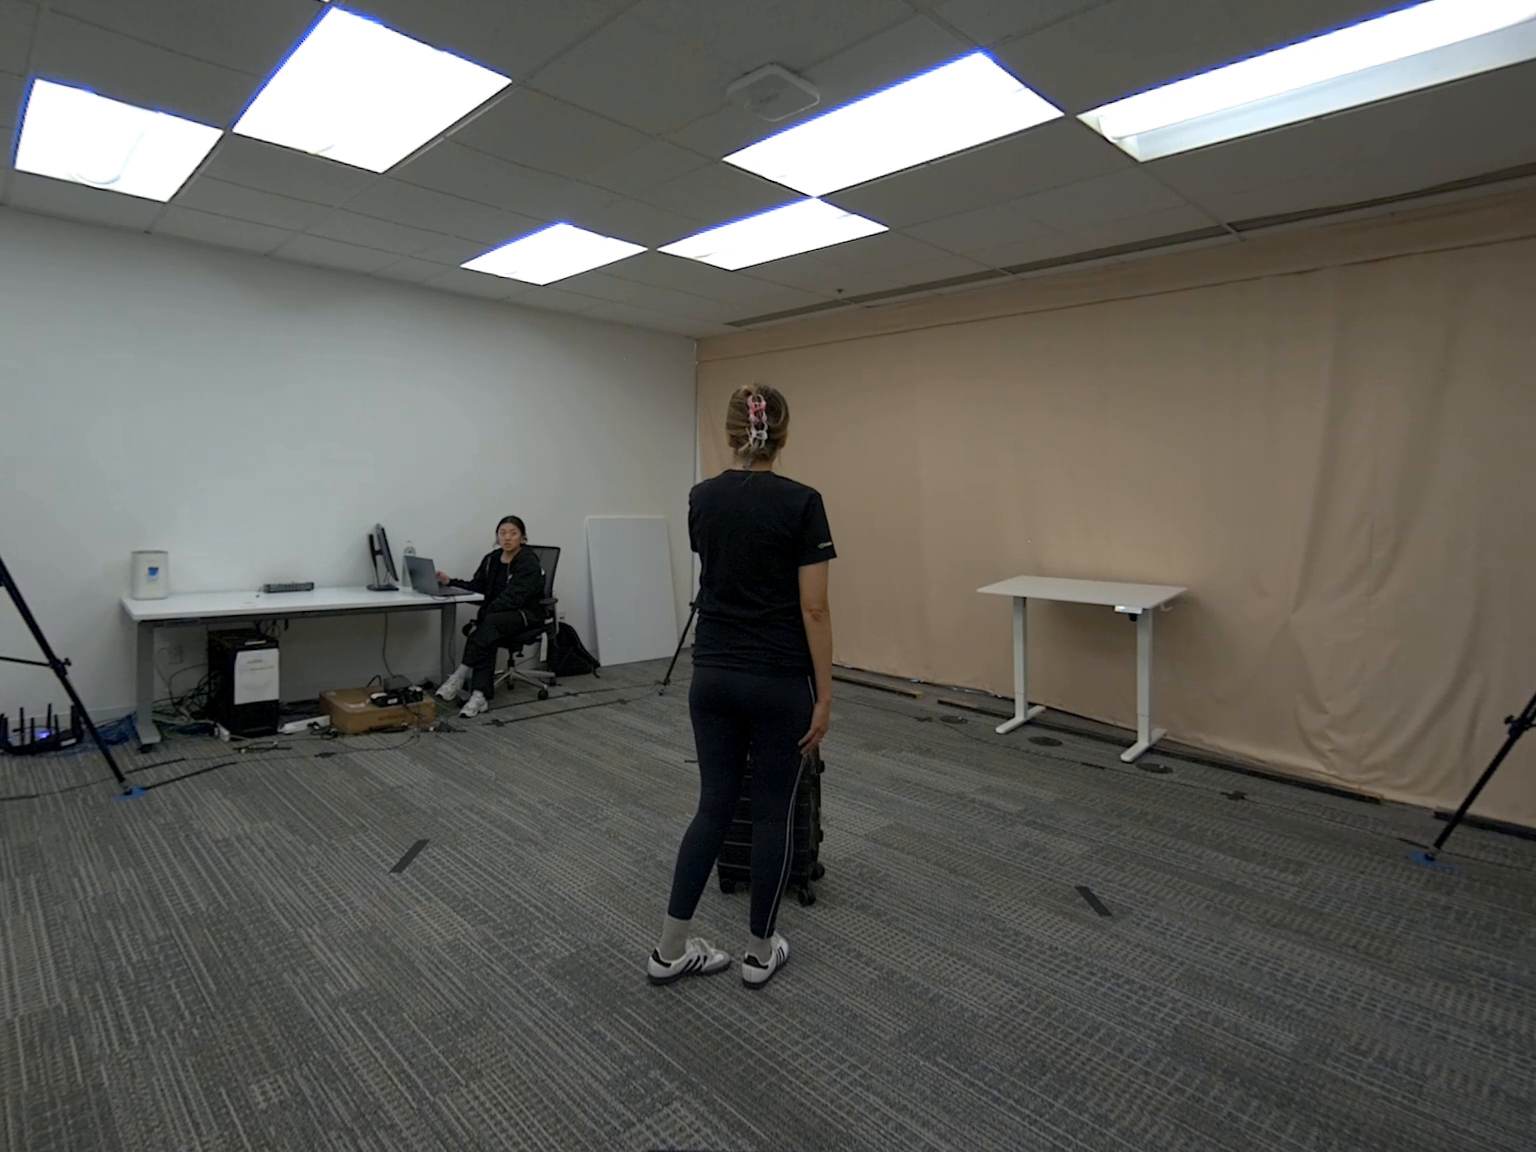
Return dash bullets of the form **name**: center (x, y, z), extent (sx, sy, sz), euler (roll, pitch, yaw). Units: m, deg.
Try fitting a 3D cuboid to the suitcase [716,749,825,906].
- **suitcase**: center (0.005, 0.639, 3.027), extent (0.388, 0.979, 0.254), euler (1, -1, 14)
